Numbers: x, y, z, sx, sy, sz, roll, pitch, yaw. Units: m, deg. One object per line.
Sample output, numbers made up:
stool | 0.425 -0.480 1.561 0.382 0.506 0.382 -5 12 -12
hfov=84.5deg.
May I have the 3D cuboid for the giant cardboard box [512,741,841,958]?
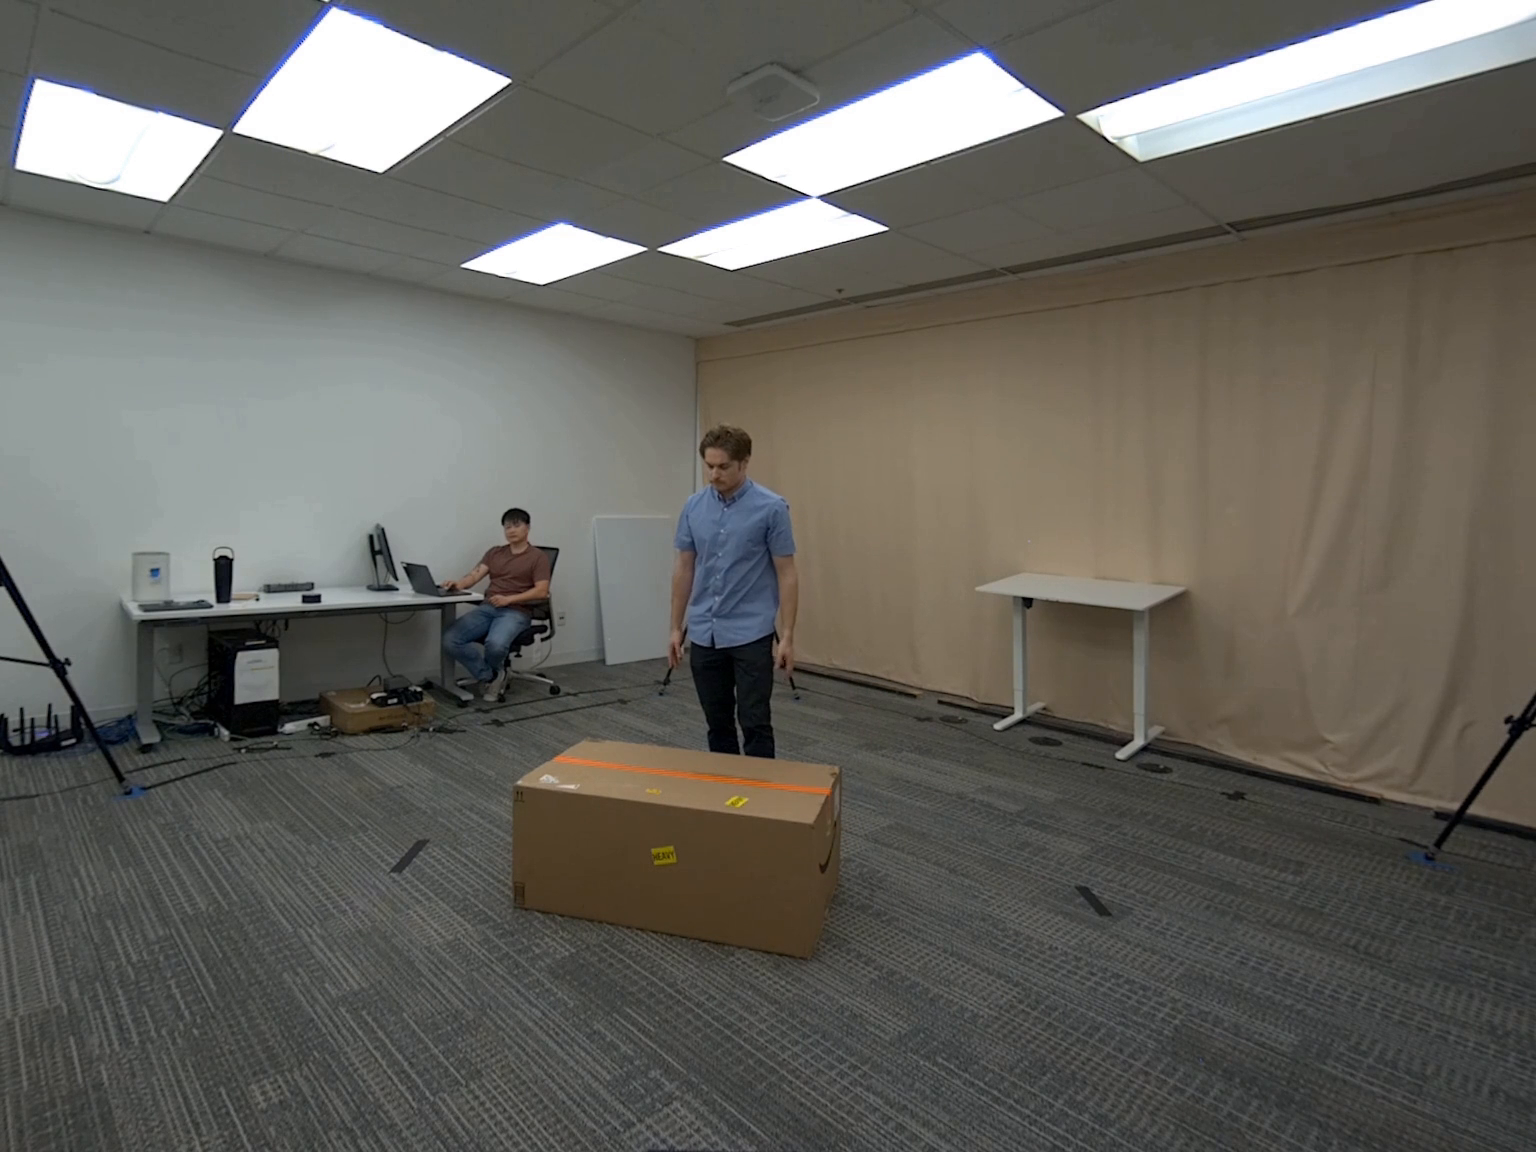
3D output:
giant cardboard box | -0.296 0.901 2.940 1.040 0.446 0.577 2 3 15
